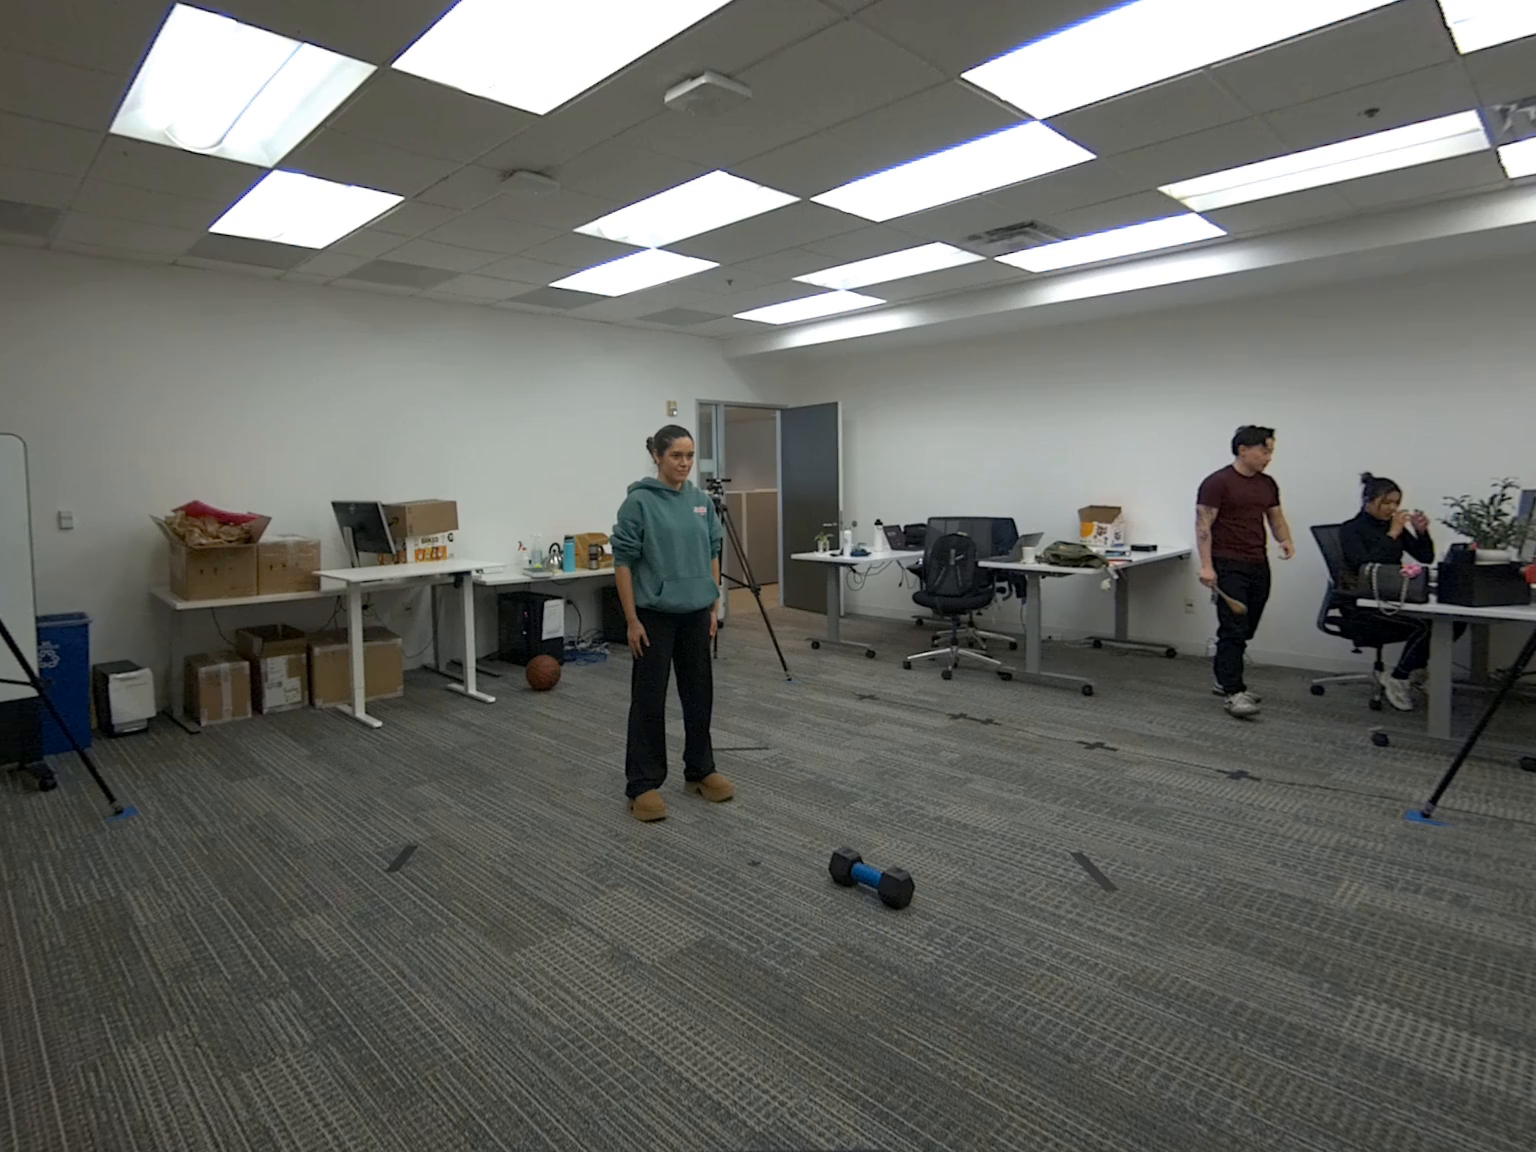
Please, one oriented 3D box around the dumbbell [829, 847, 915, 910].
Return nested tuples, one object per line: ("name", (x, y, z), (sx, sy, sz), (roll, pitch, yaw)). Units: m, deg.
("dumbbell", (0.350, 1.011, 2.865), (0.120, 0.108, 0.303), (-6, 7, -42))
